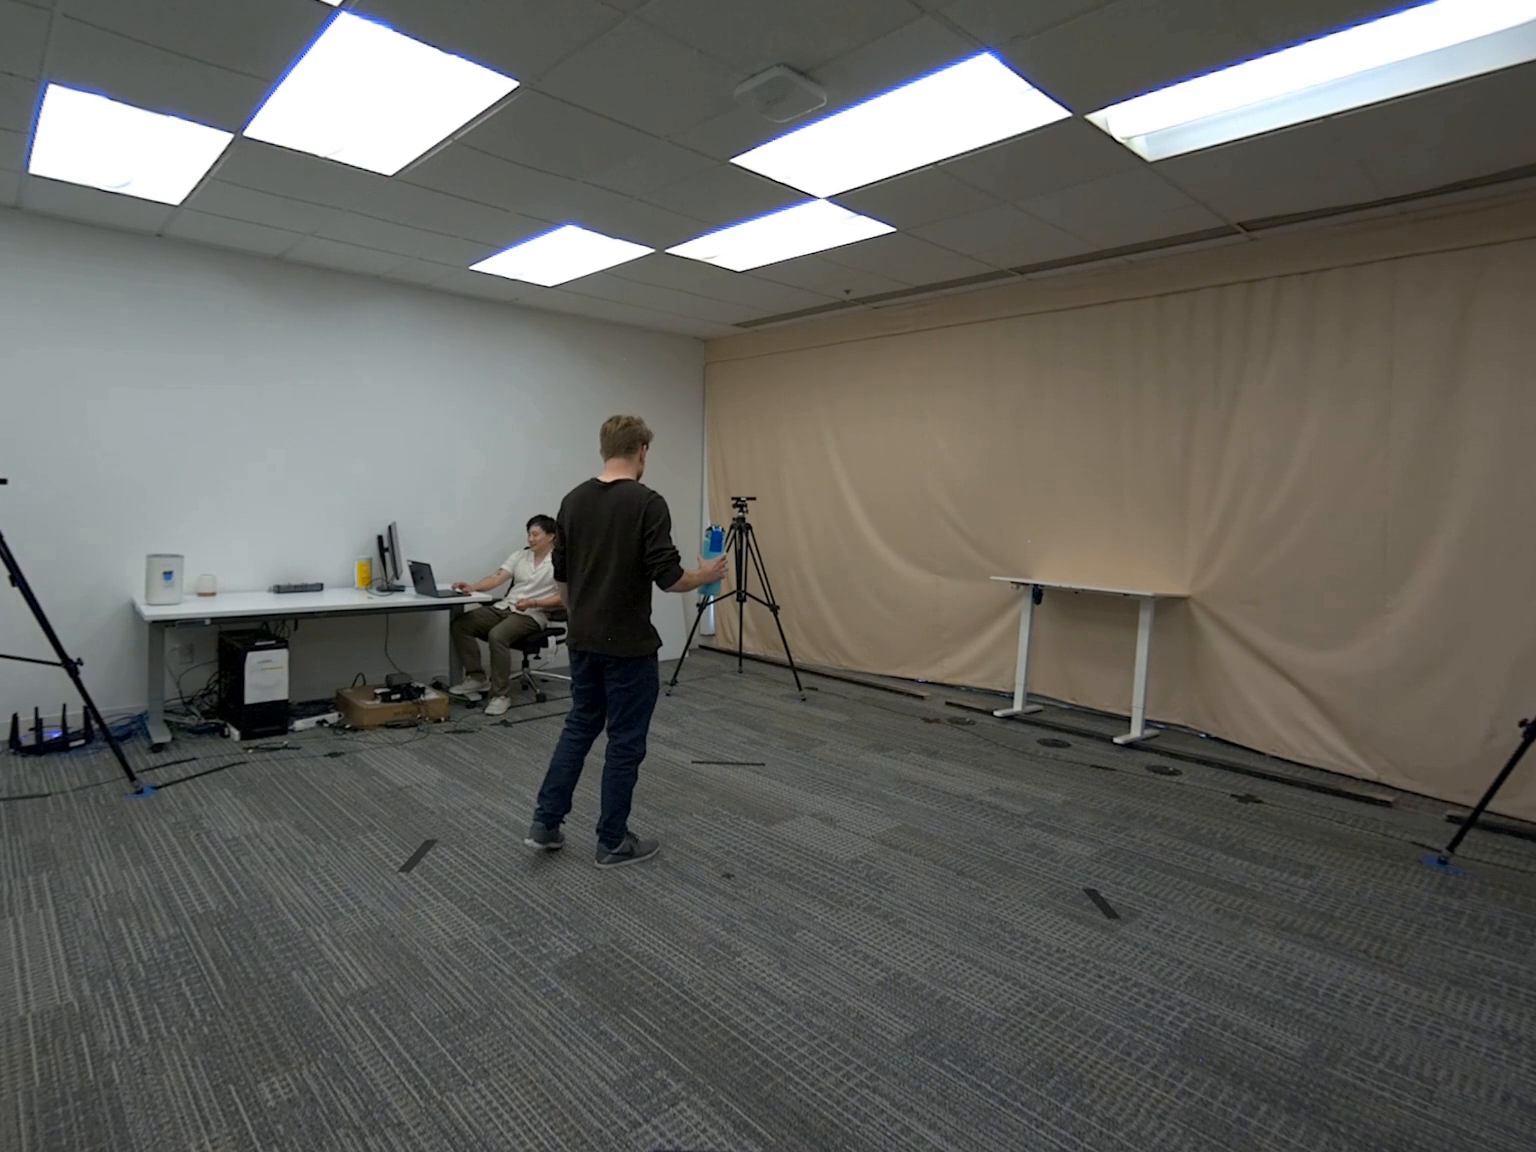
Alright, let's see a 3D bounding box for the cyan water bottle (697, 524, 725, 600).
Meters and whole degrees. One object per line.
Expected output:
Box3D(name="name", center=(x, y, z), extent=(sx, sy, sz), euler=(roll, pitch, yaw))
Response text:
Box3D(name="cyan water bottle", center=(-0.237, -0.068, 3.346), extent=(0.092, 0.282, 0.093), euler=(8, 5, -2))
